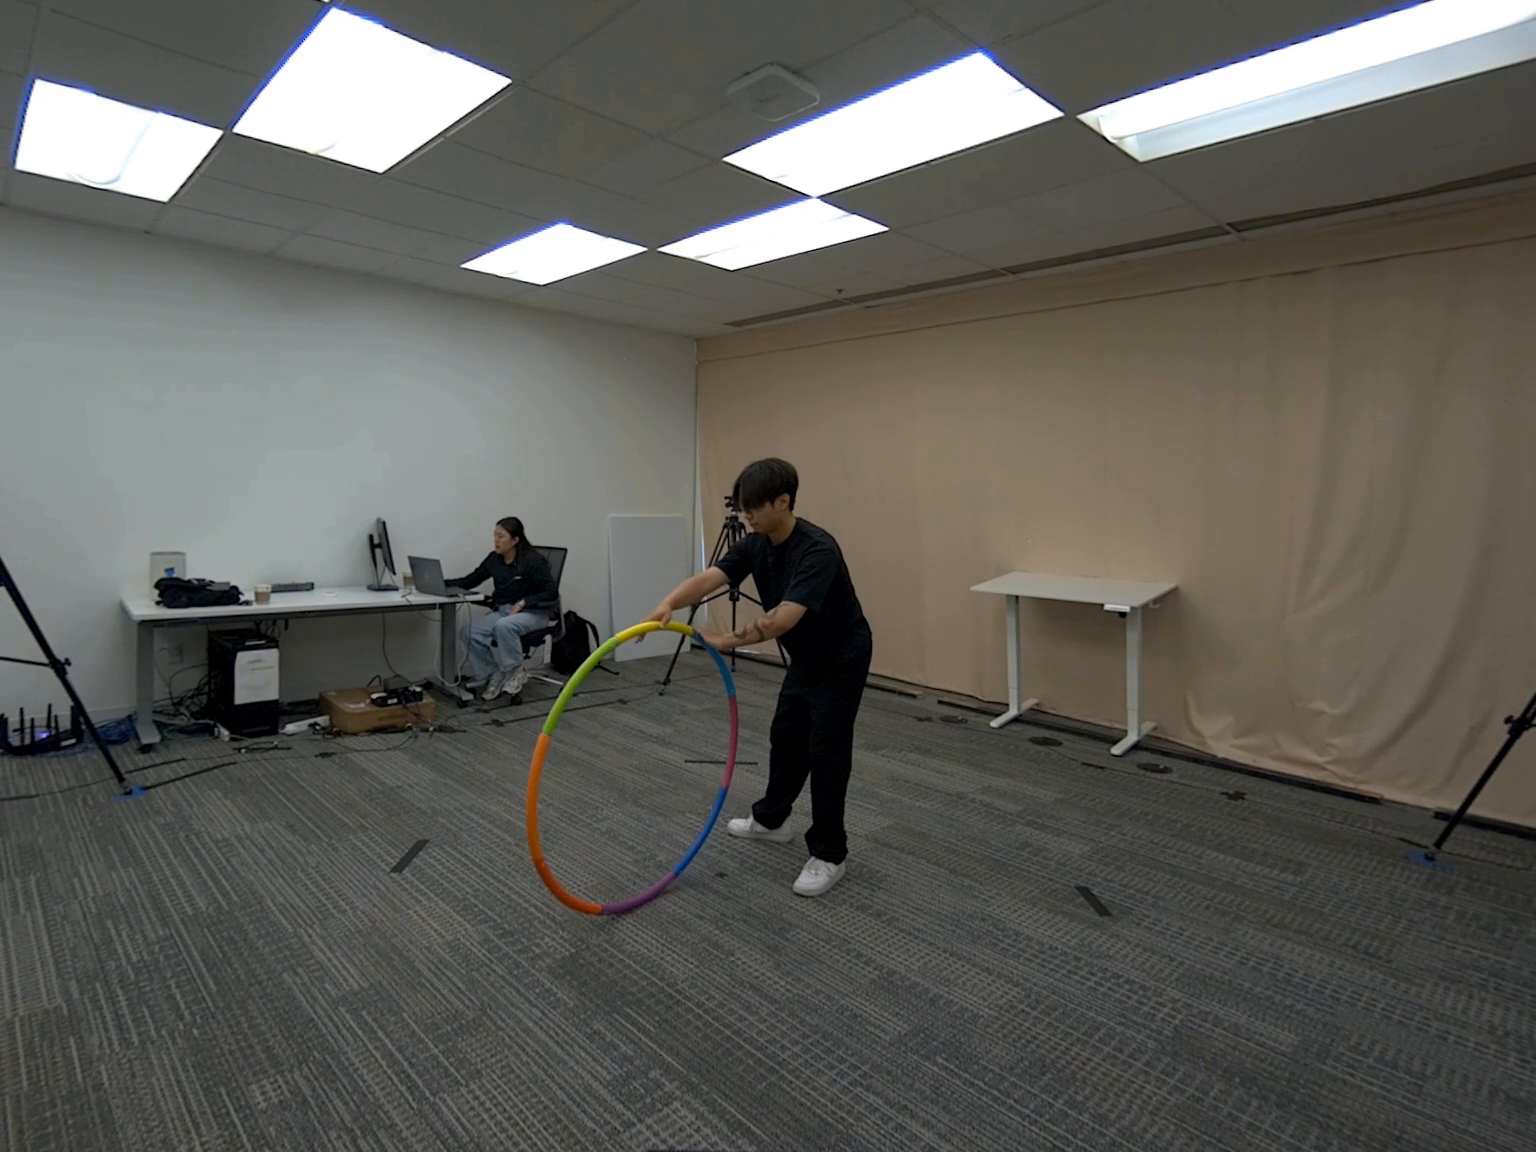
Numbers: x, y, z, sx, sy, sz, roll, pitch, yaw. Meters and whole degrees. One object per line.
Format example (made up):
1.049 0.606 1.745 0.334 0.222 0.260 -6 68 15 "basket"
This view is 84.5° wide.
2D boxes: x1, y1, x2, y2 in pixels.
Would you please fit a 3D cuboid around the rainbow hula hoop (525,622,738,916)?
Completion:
-0.424 0.642 2.831 0.036 0.975 0.958 6 6 36 "rainbow hula hoop"
